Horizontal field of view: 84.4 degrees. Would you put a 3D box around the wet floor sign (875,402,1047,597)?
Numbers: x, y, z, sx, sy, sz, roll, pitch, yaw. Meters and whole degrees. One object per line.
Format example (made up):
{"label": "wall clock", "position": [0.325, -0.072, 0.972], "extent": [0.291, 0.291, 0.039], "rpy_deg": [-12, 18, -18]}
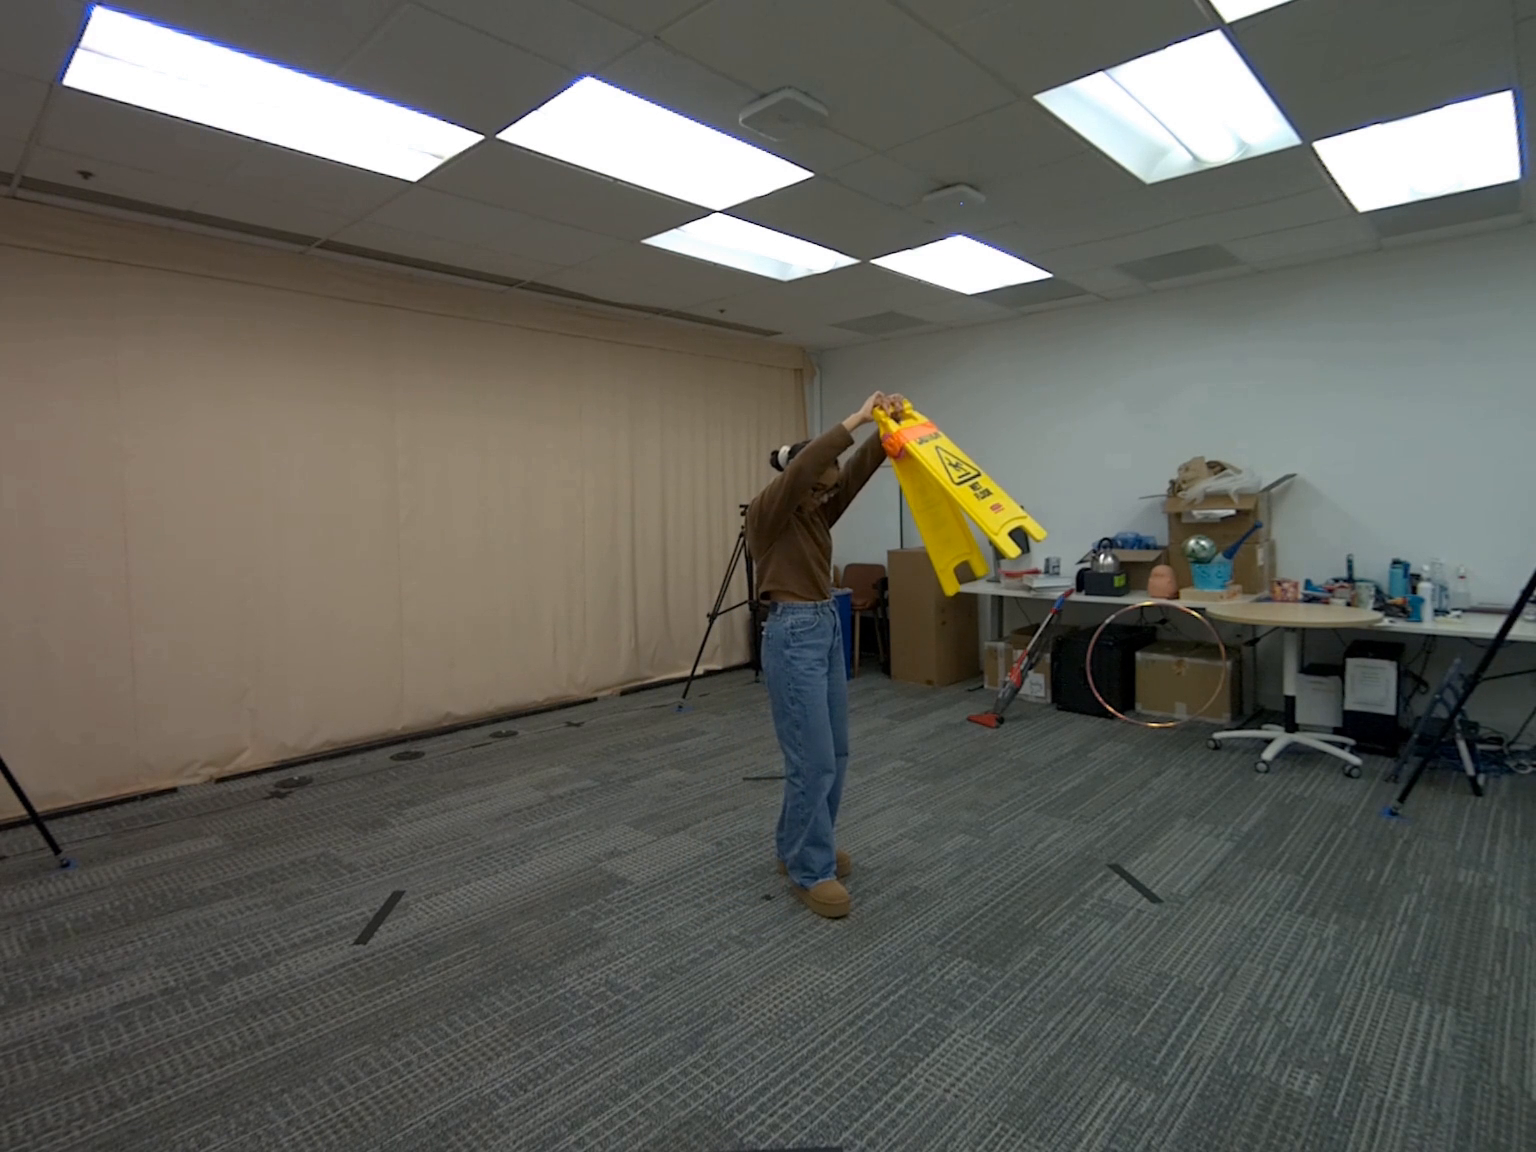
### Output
{"label": "wet floor sign", "position": [0.579, -0.302, 2.764], "extent": [0.276, 0.653, 0.293], "rpy_deg": [-22, -13, -44]}
